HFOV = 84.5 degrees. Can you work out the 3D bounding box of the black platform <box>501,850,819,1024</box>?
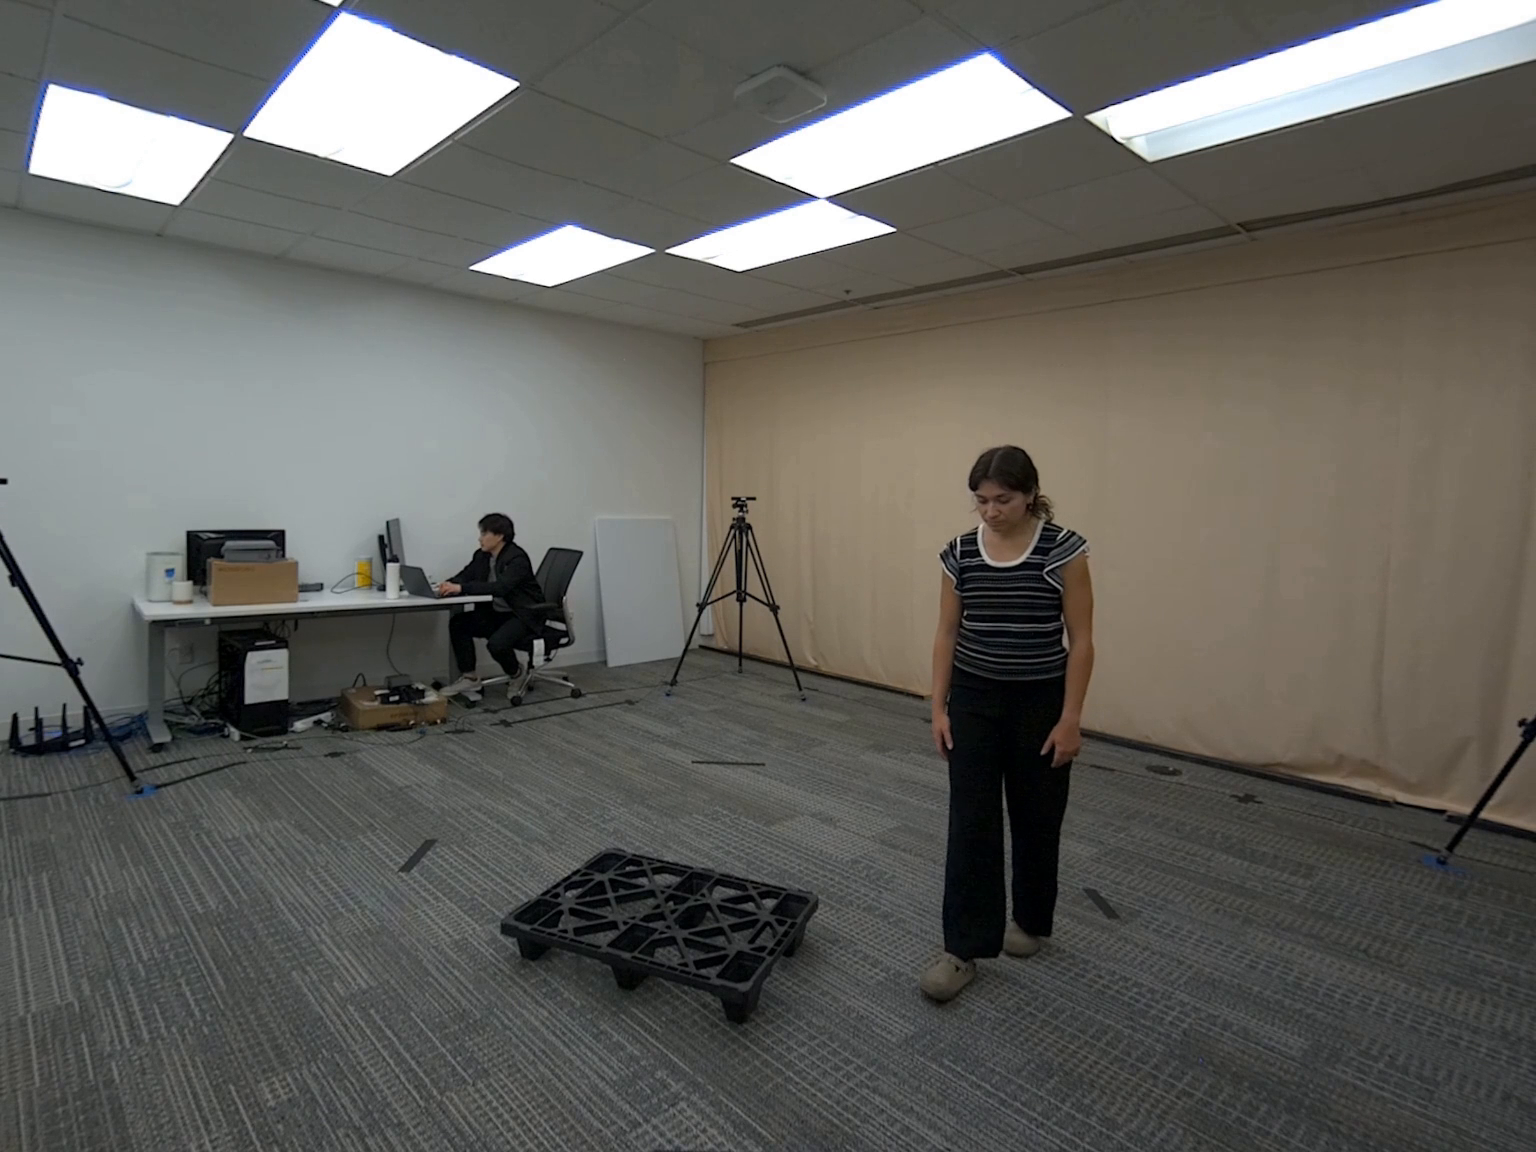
[{"bbox_3d":[-0.324,1.083,2.588,0.821,0.143,0.595,4,5,24],"label":"black platform"}]
